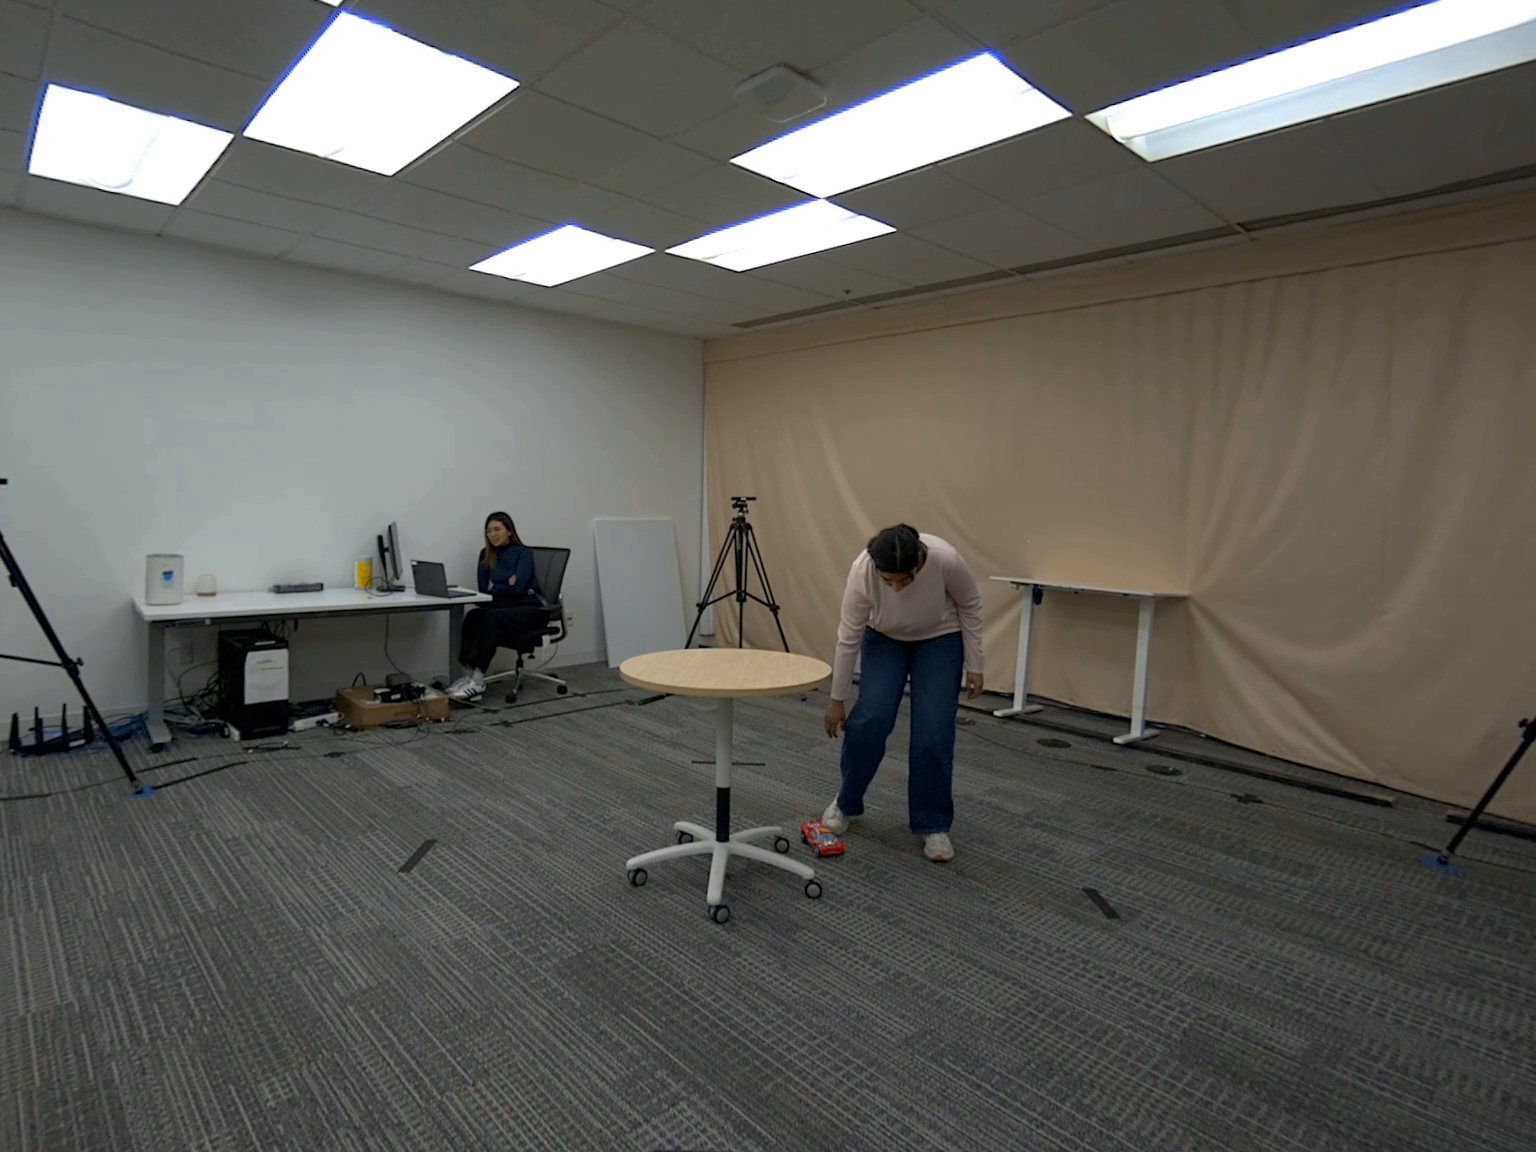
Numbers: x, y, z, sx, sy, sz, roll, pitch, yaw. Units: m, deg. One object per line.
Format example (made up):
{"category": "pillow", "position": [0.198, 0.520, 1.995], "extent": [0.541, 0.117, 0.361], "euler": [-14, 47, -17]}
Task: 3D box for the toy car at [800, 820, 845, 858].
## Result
{"category": "toy car", "position": [0.199, 1.057, 3.388], "extent": [0.128, 0.082, 0.260], "euler": [1, 14, -17]}
